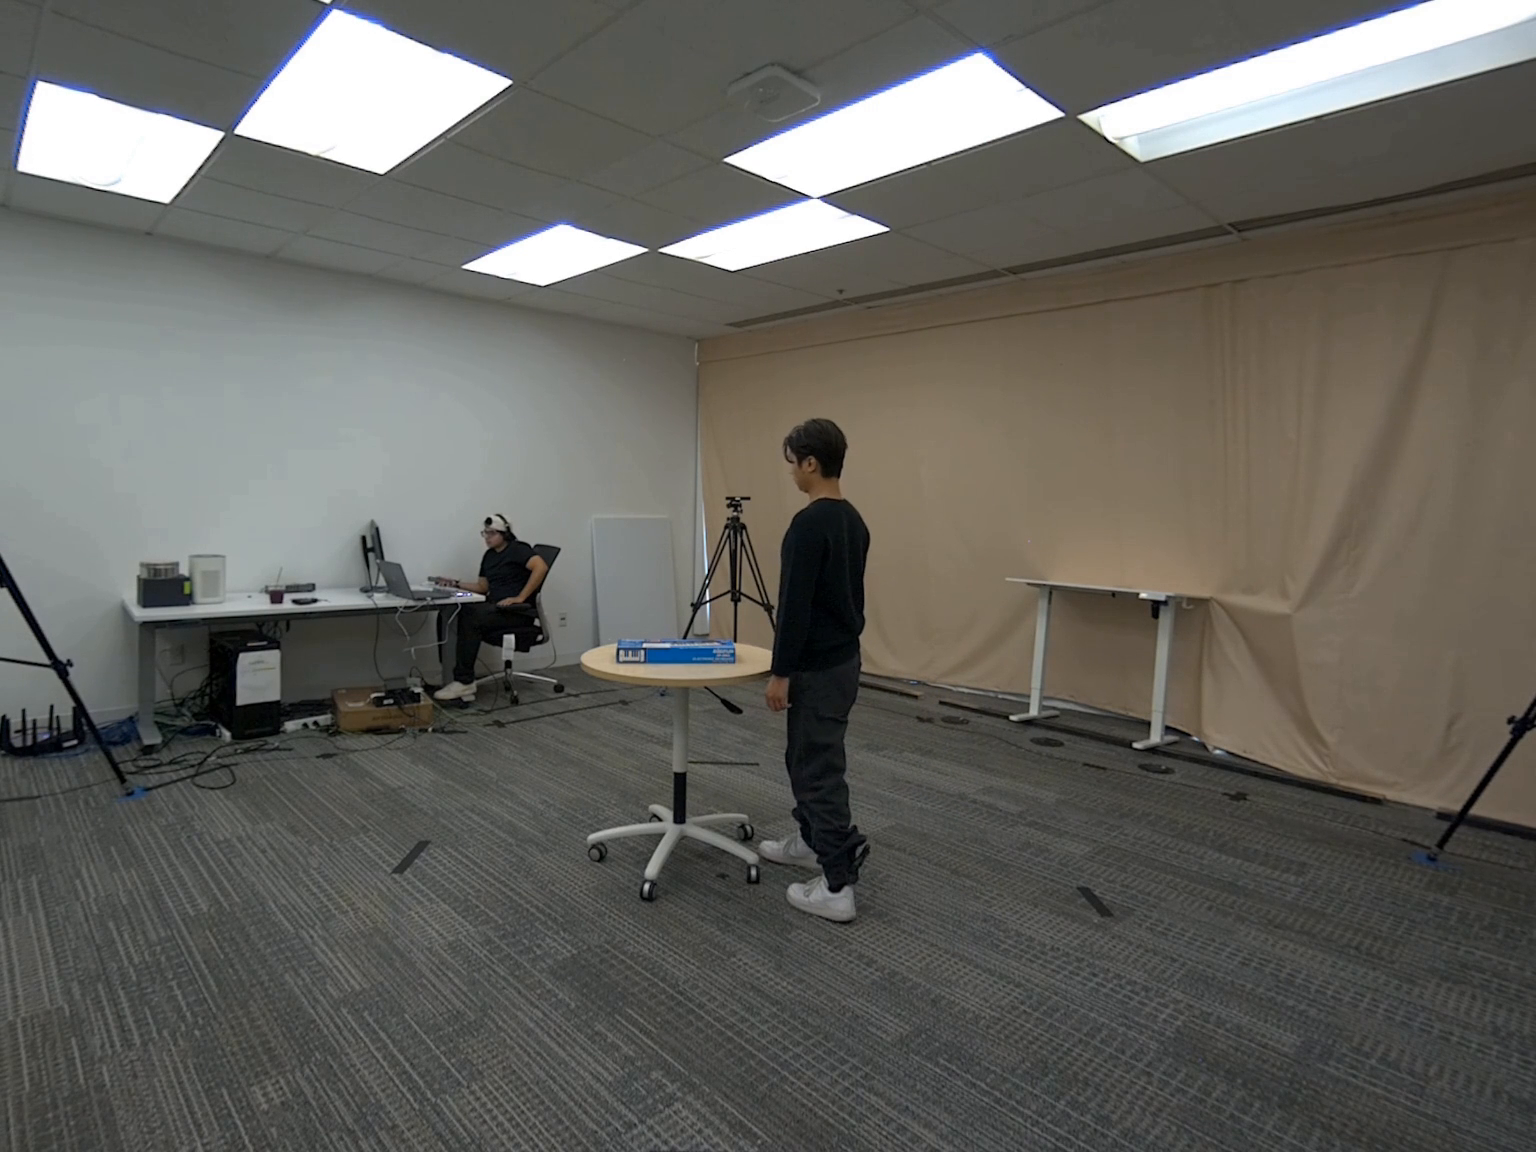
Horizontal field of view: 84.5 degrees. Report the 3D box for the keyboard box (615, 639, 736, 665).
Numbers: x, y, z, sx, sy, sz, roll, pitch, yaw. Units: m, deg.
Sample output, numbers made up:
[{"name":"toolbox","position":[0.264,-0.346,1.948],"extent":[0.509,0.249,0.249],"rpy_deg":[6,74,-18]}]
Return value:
[{"name":"keyboard box","position":[-0.355,0.282,3.168],"extent":[0.434,0.059,0.177],"rpy_deg":[0,6,-7]}]
